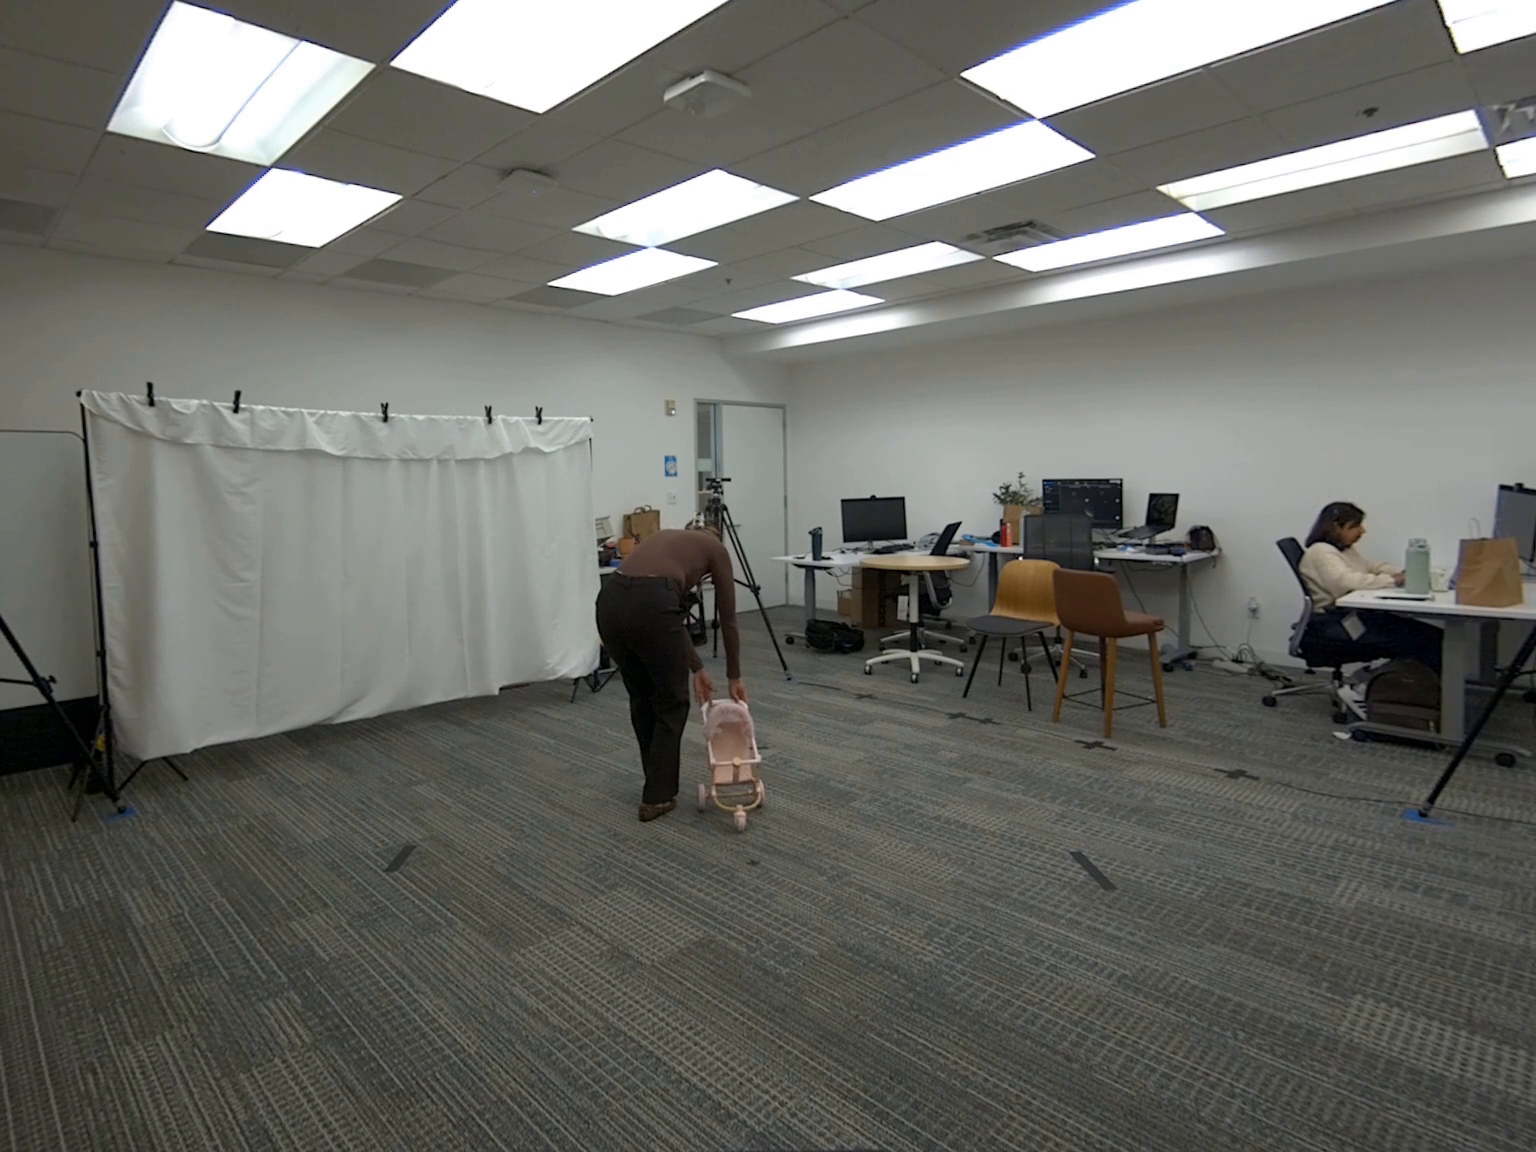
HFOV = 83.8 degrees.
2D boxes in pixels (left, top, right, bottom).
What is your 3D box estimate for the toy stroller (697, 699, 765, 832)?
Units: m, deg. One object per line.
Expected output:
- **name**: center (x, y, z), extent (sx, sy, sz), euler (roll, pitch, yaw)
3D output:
- **toy stroller**: center (-0.153, 0.763, 3.561), extent (0.280, 0.542, 0.338), euler (-3, -14, -6)
